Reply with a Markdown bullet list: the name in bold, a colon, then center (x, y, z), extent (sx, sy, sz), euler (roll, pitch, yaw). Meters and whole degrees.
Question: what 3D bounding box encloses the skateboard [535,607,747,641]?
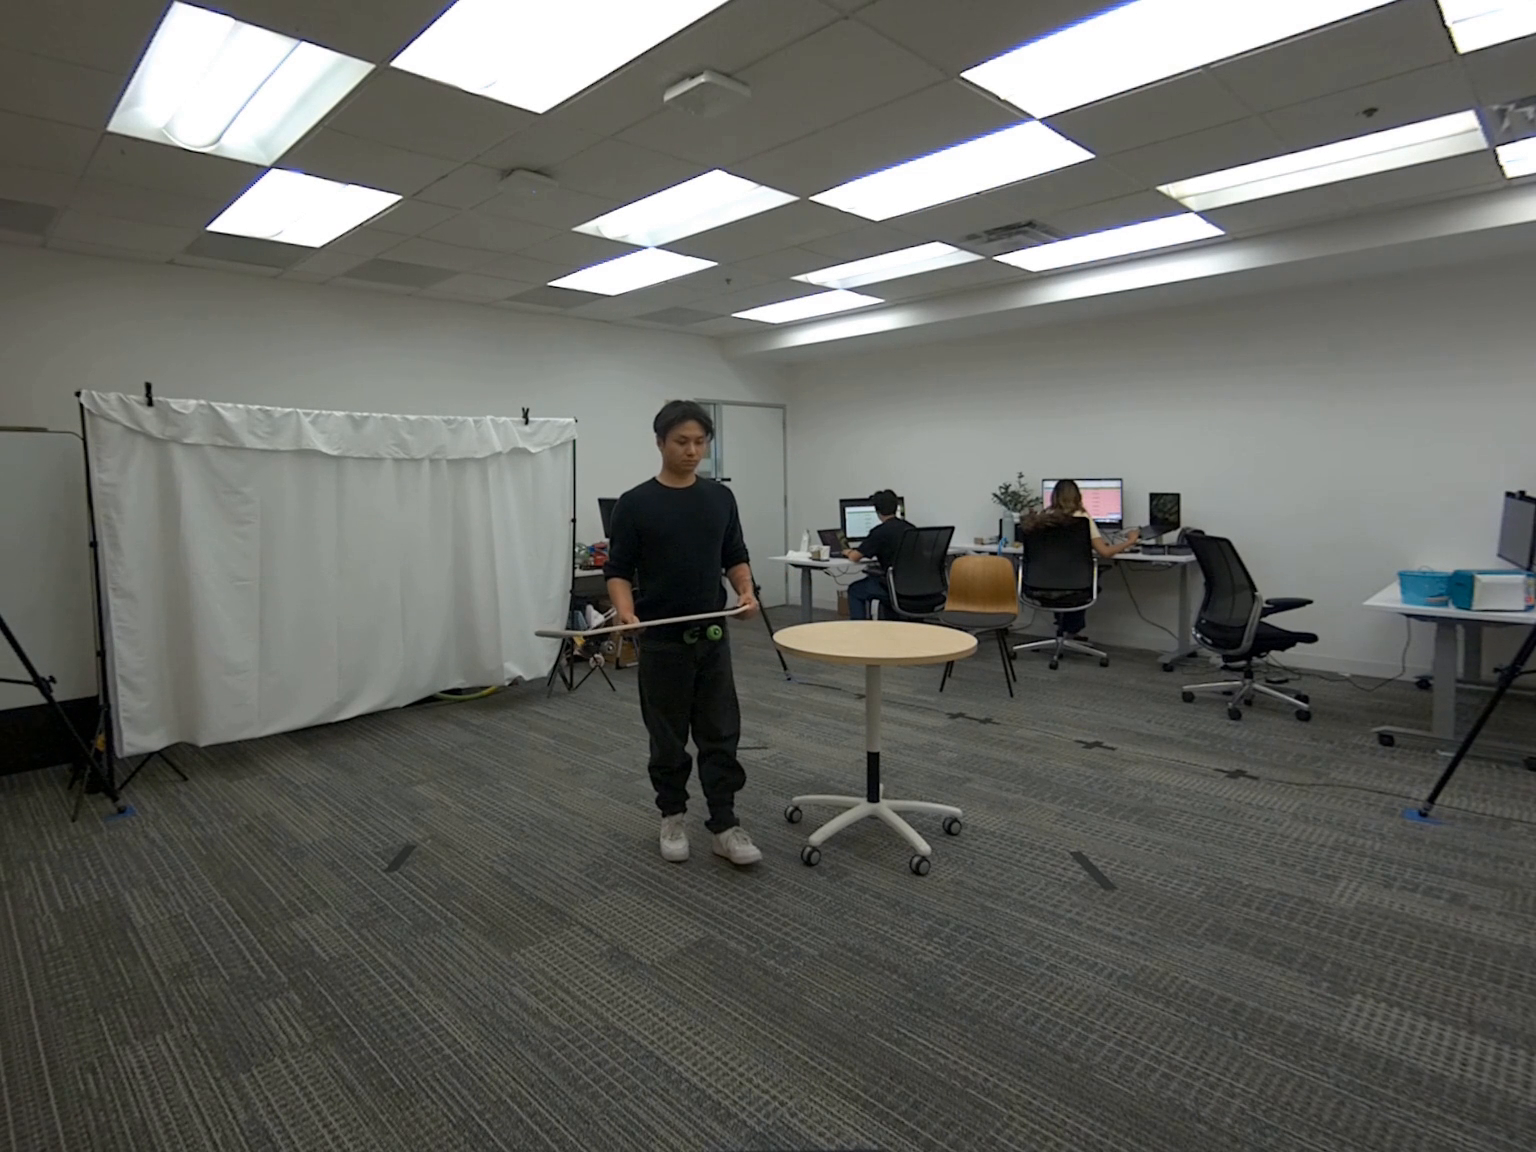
- **skateboard**: center (-0.400, 0.192, 2.842), extent (0.767, 0.111, 0.197), euler (-7, -4, -34)
